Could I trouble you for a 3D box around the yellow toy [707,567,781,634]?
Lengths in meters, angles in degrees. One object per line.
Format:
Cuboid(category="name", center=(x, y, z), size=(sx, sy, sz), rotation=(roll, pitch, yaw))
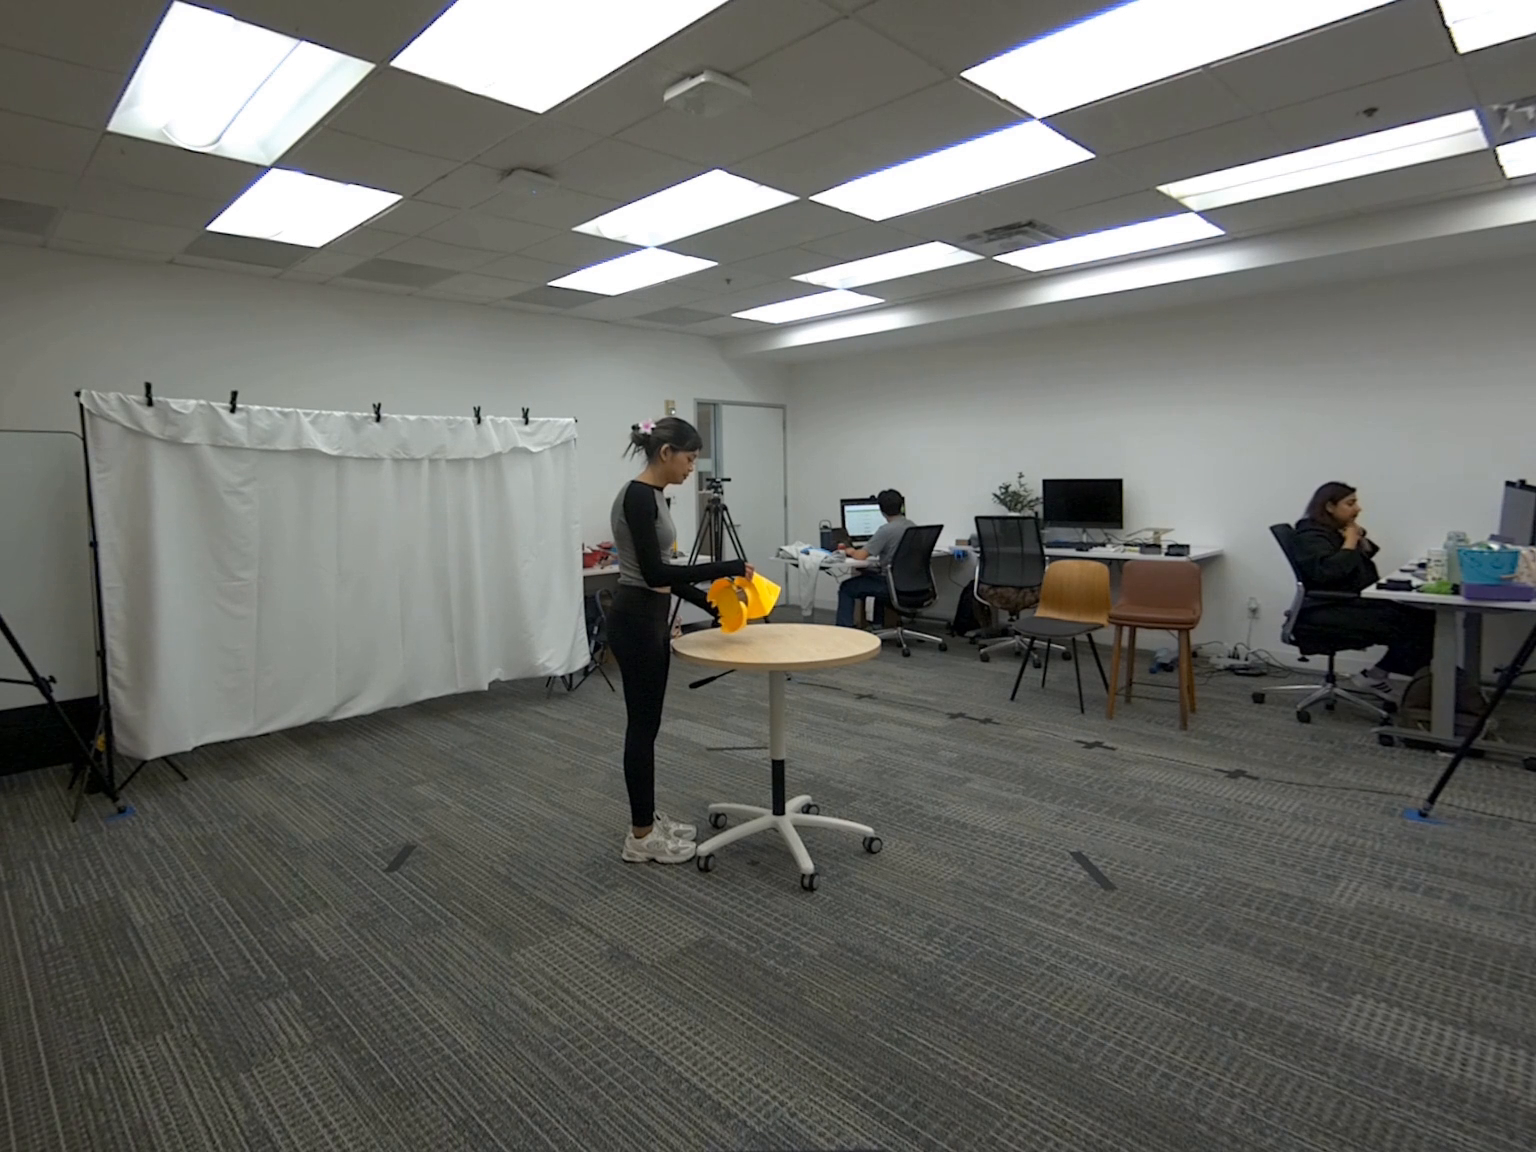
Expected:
Cuboid(category="yellow toy", center=(-0.065, 0.087, 3.172), size=(0.225, 0.210, 0.193), rotation=(-8, -26, -42))
